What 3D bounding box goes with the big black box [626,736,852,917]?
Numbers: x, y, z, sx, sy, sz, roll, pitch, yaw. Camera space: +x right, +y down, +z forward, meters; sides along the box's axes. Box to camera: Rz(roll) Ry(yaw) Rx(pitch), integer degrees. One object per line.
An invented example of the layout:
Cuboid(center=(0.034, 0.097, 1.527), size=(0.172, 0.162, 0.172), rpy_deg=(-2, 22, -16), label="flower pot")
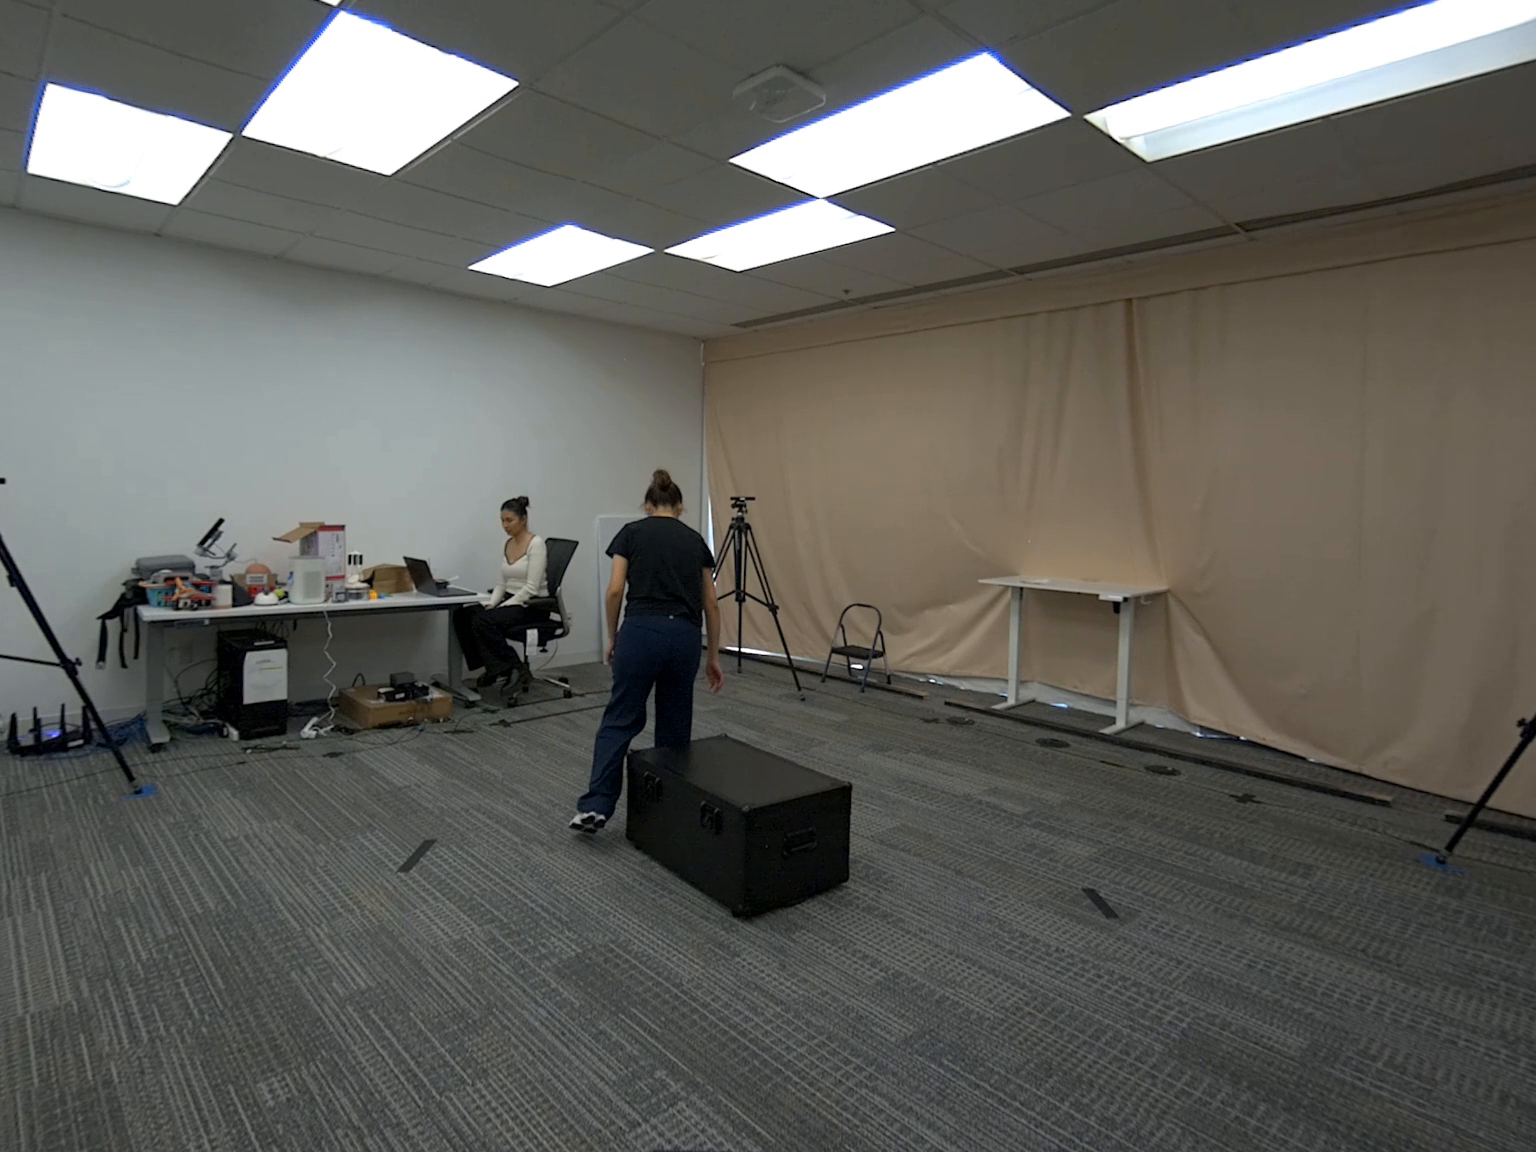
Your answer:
Cuboid(center=(-0.120, 0.917, 3.147), size=(0.510, 0.395, 0.883), rpy_deg=(-2, 5, -38), label="big black box")
